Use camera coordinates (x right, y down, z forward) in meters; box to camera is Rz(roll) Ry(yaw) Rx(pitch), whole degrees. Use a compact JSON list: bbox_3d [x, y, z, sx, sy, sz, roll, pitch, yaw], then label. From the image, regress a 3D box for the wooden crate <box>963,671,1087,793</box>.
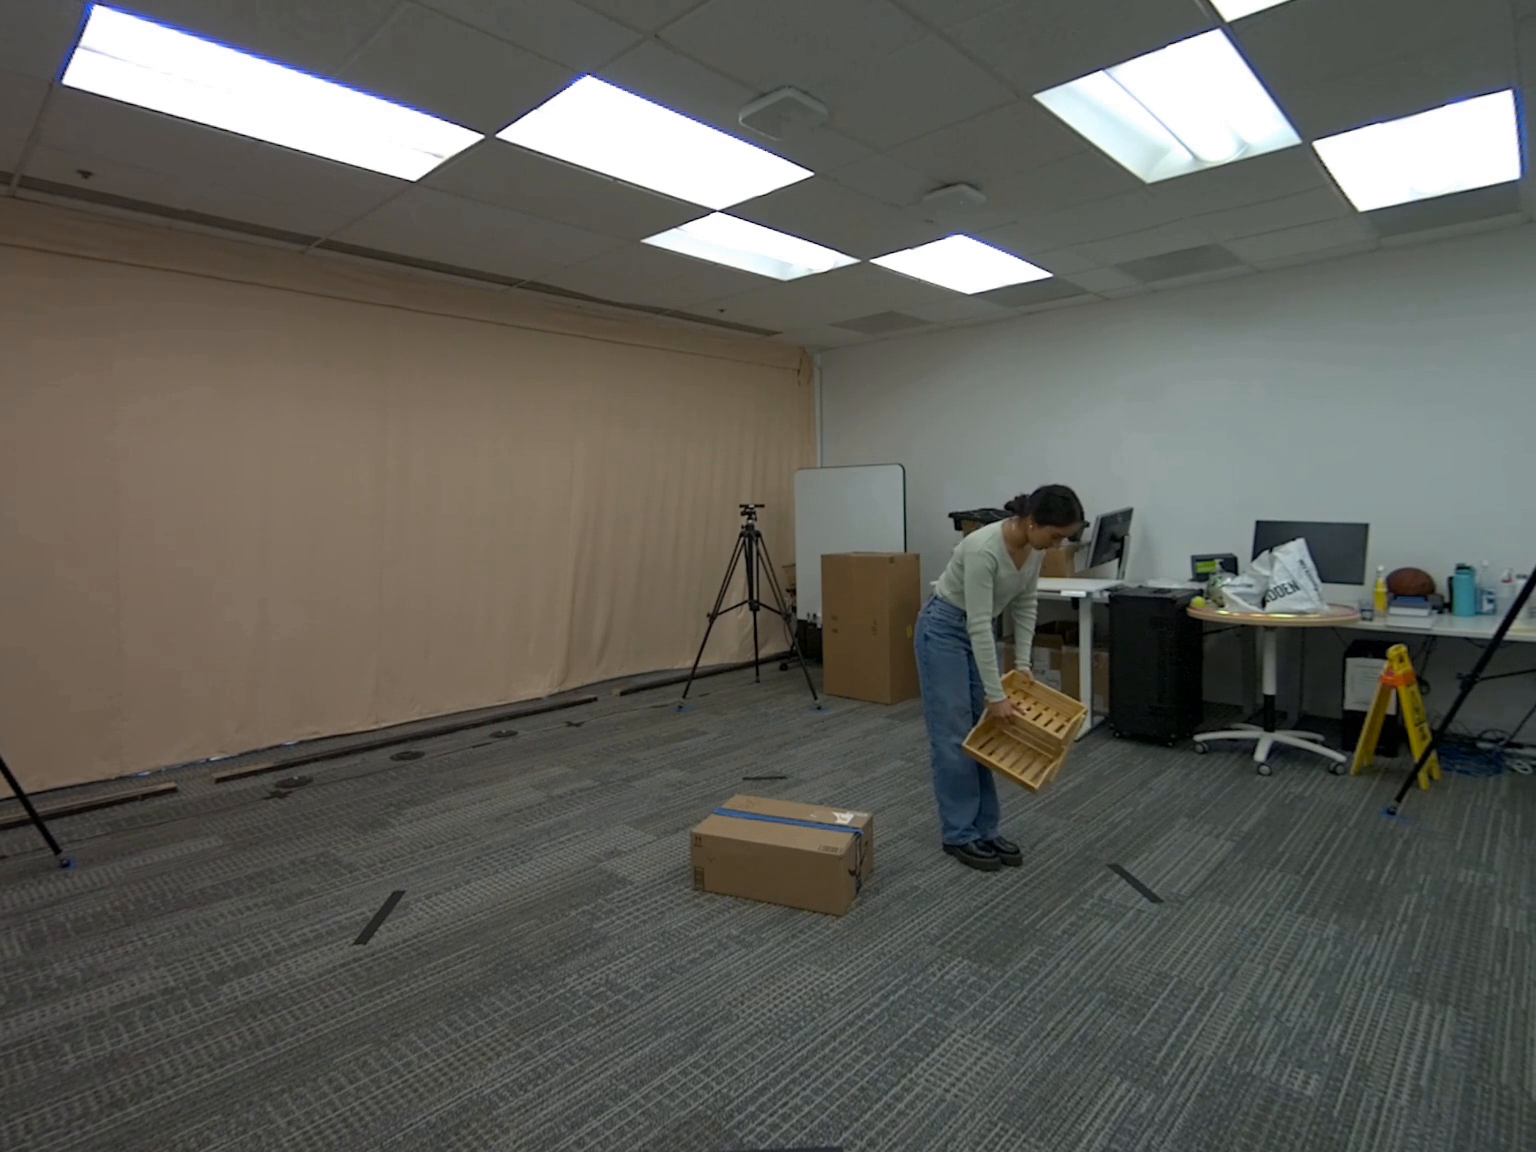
[{"bbox_3d":[0.945,0.568,3.108,0.336,0.270,0.294,29,33,36],"label":"wooden crate"}]
